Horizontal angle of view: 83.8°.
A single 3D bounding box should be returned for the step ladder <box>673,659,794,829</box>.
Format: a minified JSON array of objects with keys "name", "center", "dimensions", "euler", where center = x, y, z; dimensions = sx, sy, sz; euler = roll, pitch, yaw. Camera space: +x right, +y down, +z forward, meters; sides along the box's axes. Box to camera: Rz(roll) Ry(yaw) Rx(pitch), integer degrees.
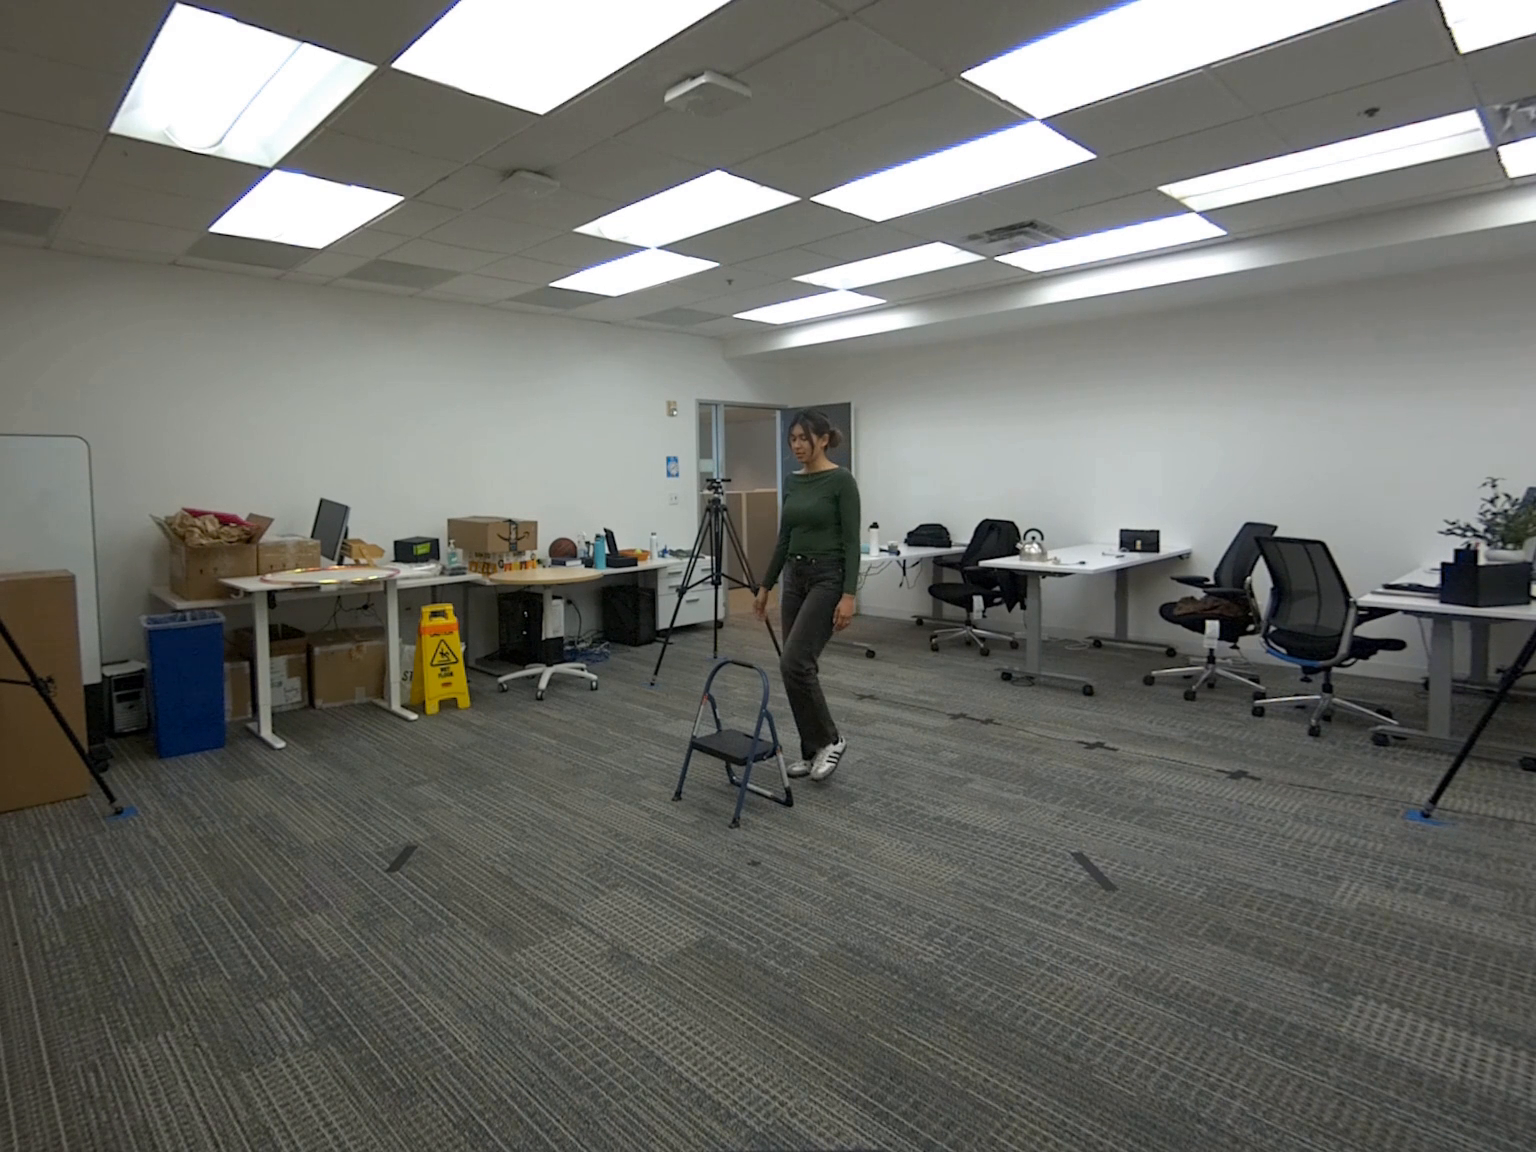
[{"name":"step ladder","center":[-0.157,0.678,3.669],"dimensions":[0.340,0.604,0.444],"euler":[-4,5,-41]}]
